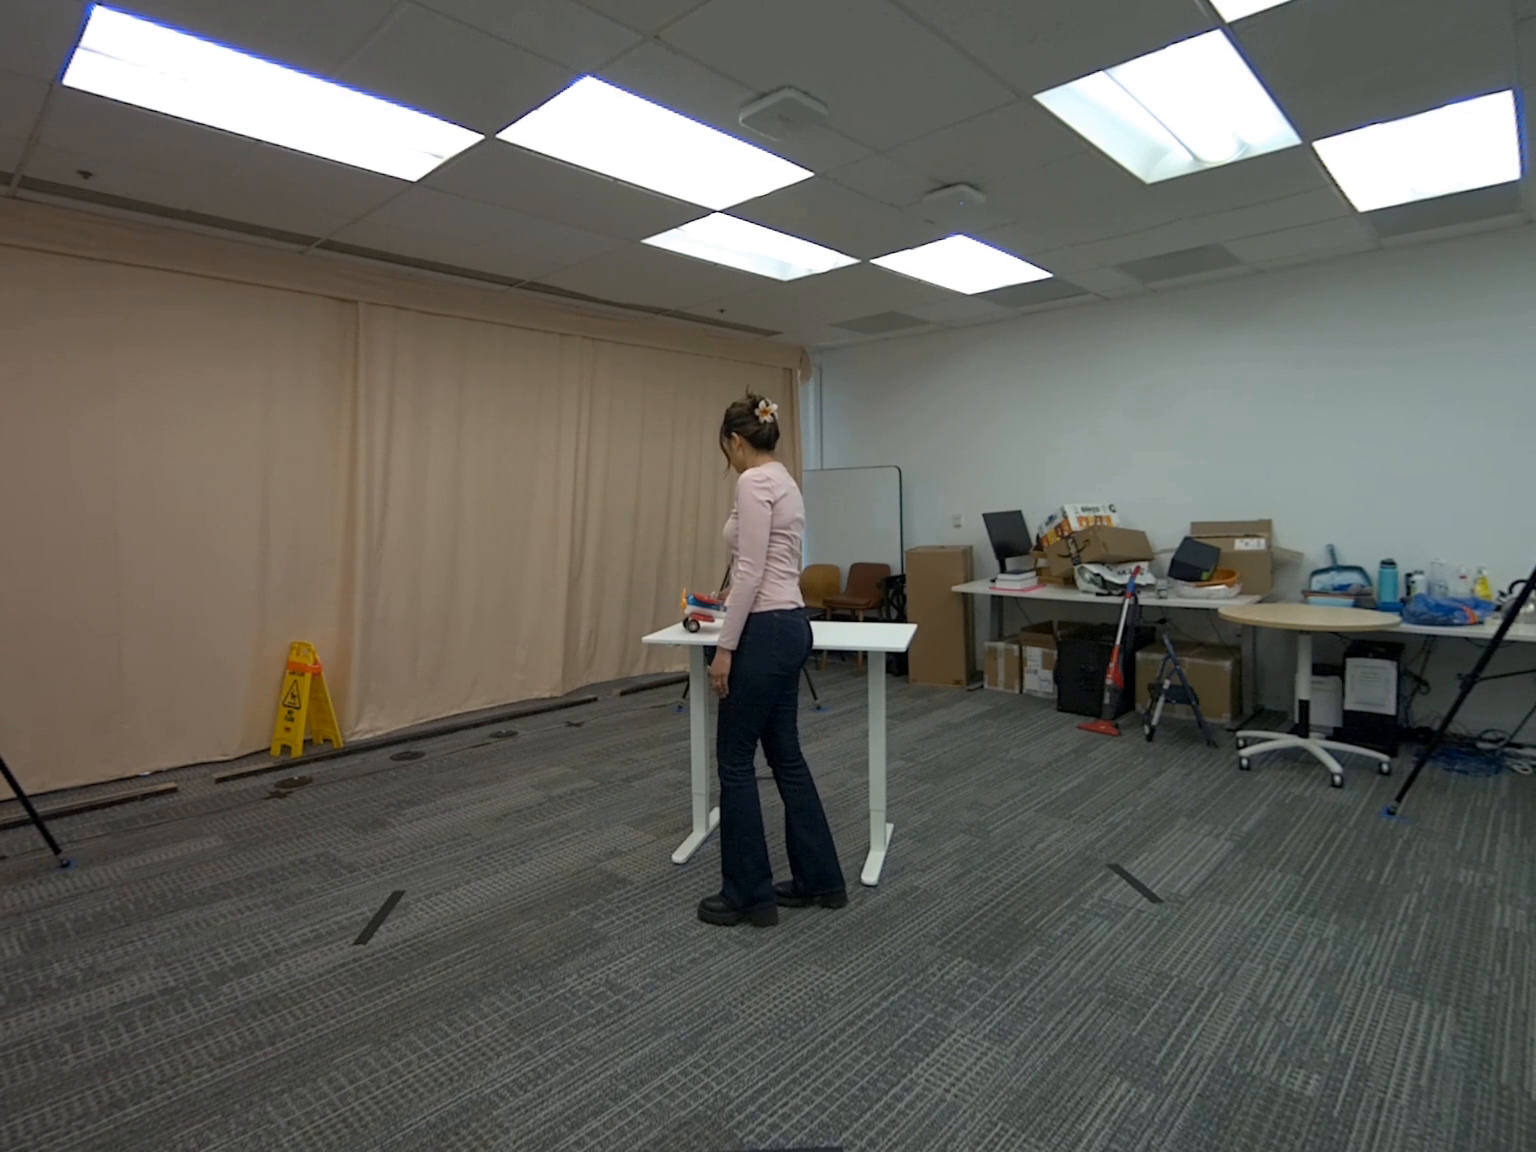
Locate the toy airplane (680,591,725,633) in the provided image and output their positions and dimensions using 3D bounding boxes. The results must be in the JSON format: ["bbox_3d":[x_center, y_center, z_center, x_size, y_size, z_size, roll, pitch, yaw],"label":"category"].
[{"bbox_3d":[-0.235,0.147,3.463,0.251,0.156,0.259,-3,4,-40],"label":"toy airplane"}]
